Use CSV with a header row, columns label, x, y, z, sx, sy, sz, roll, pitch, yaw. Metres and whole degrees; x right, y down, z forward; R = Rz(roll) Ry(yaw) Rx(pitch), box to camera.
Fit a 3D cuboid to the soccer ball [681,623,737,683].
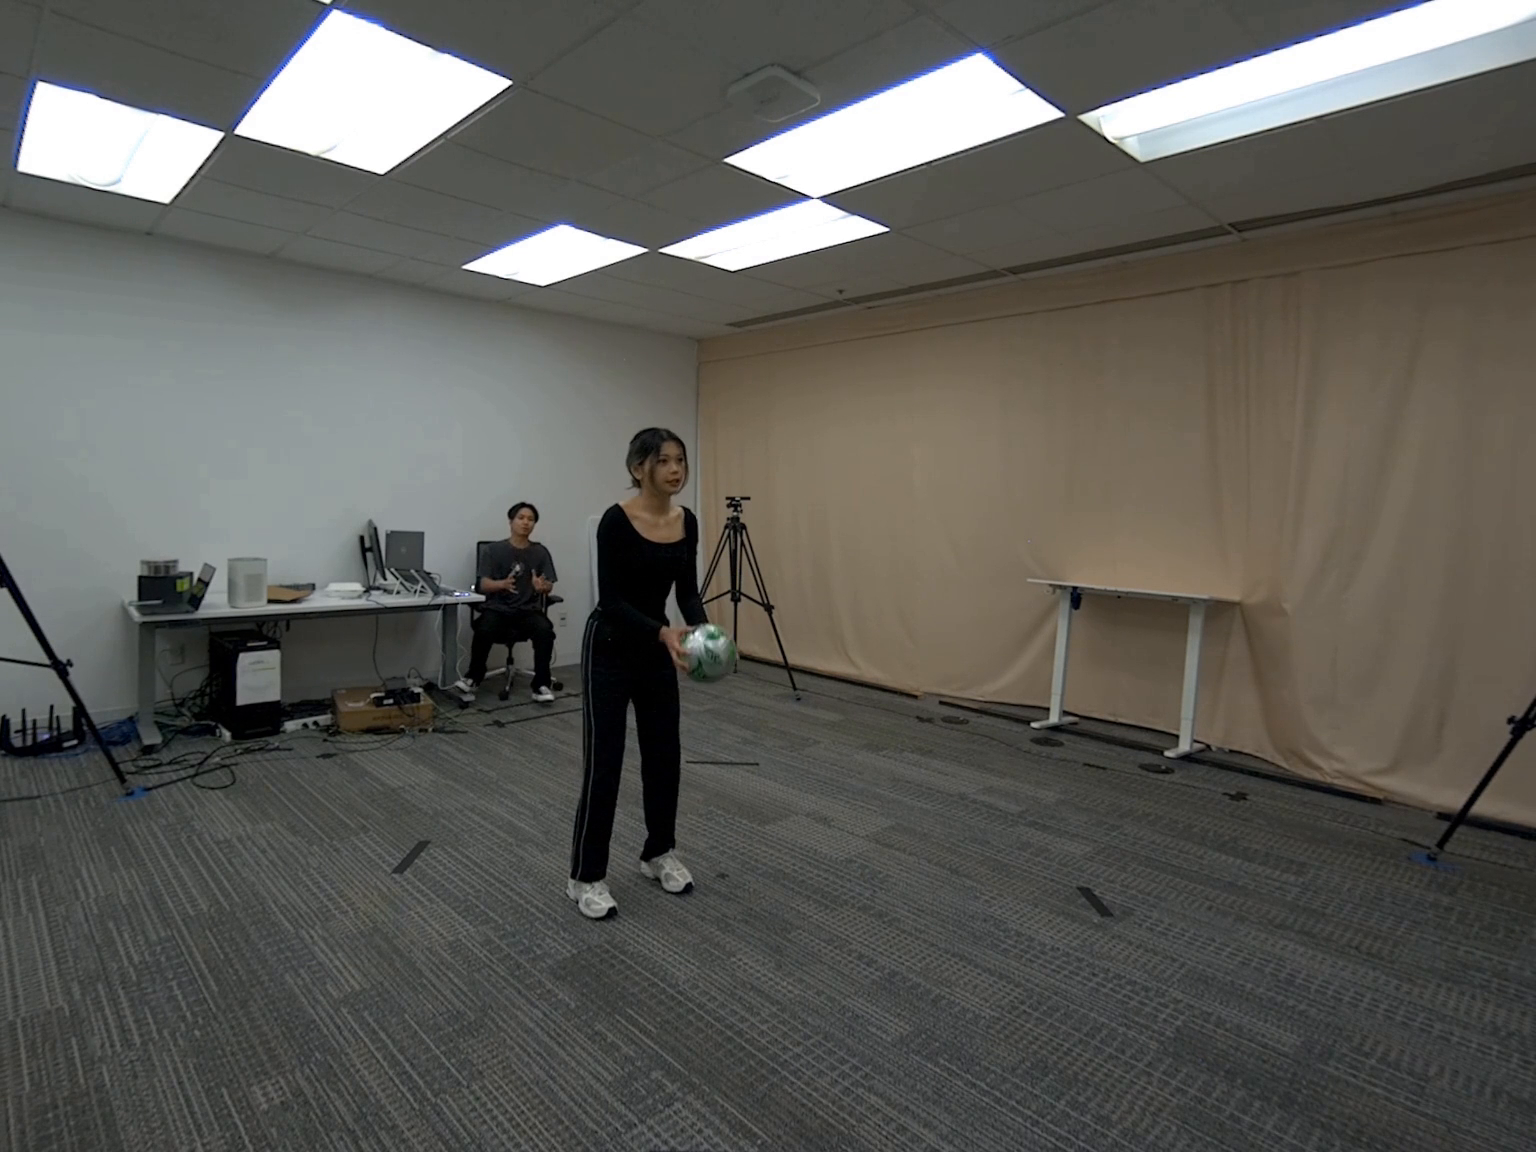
label,x,y,z,sx,sy,sz,roll,pitch,yaw
soccer ball,-0.214,0.240,2.652,0.187,0.187,0.188,1,4,-1
